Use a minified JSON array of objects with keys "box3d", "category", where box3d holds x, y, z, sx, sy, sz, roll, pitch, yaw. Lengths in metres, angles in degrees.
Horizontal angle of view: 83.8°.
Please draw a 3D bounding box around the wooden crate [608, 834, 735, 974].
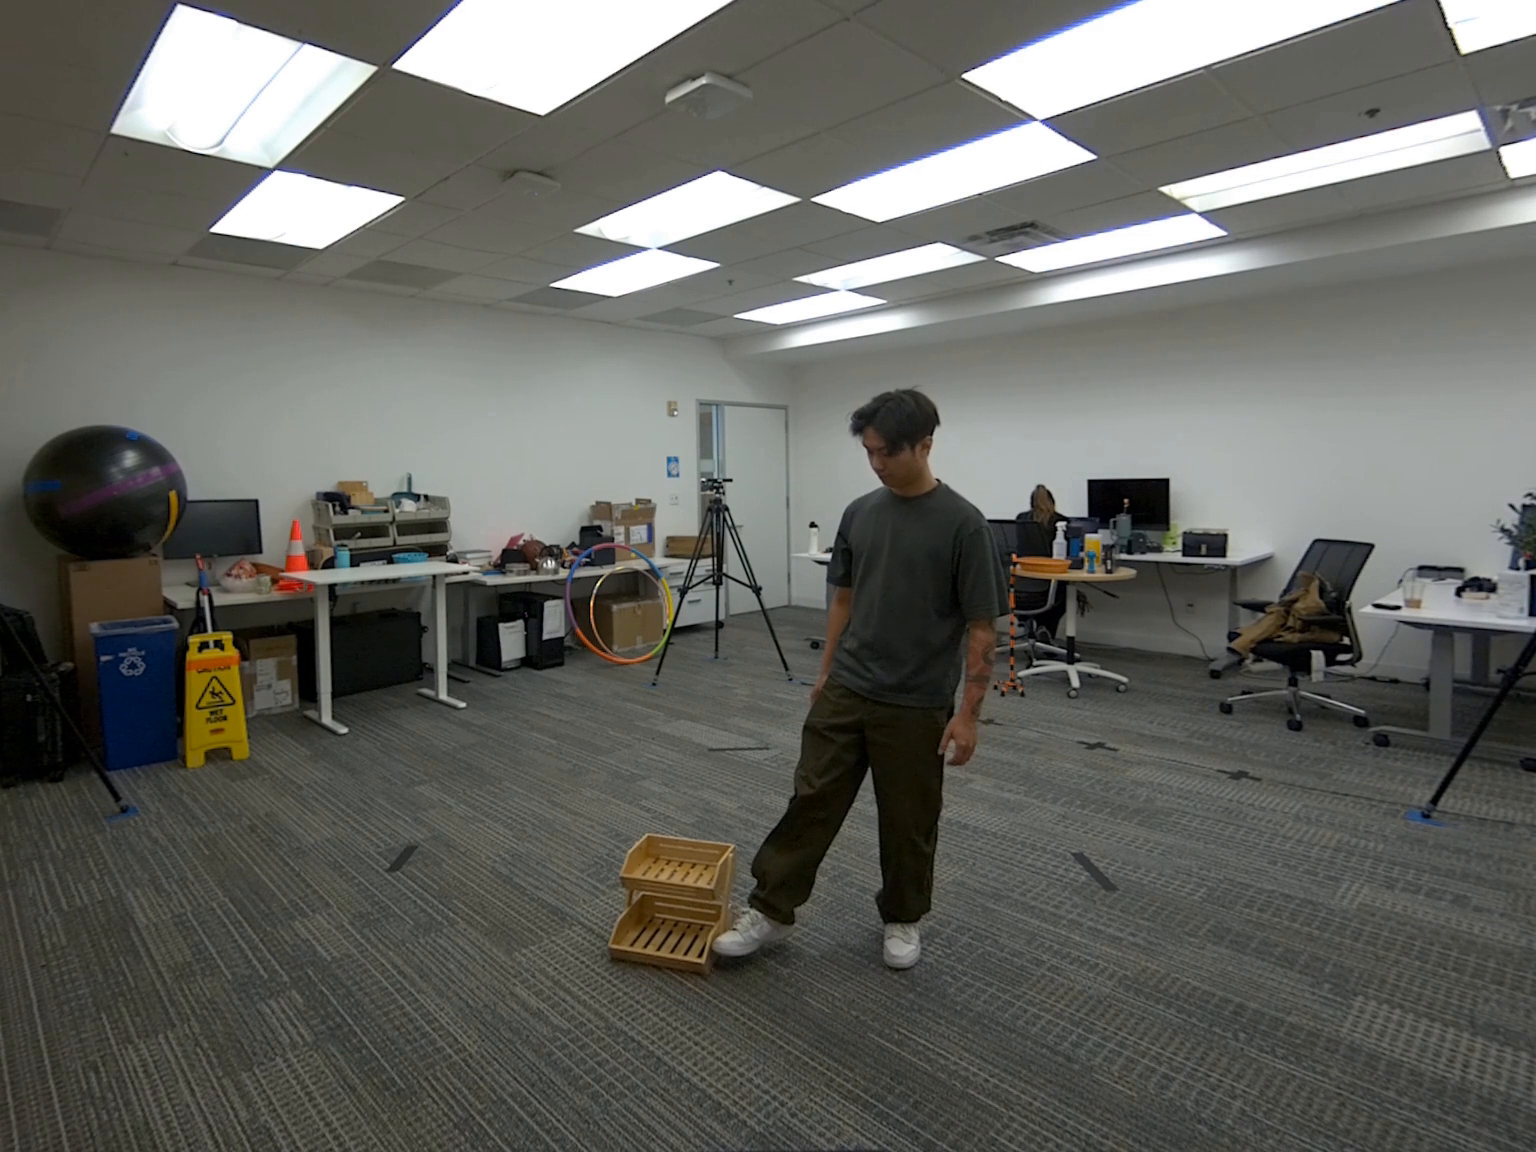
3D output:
[{"box3d":[-0.277,0.977,2.569,0.330,0.272,0.298,0,4,17],"category":"wooden crate"}]
